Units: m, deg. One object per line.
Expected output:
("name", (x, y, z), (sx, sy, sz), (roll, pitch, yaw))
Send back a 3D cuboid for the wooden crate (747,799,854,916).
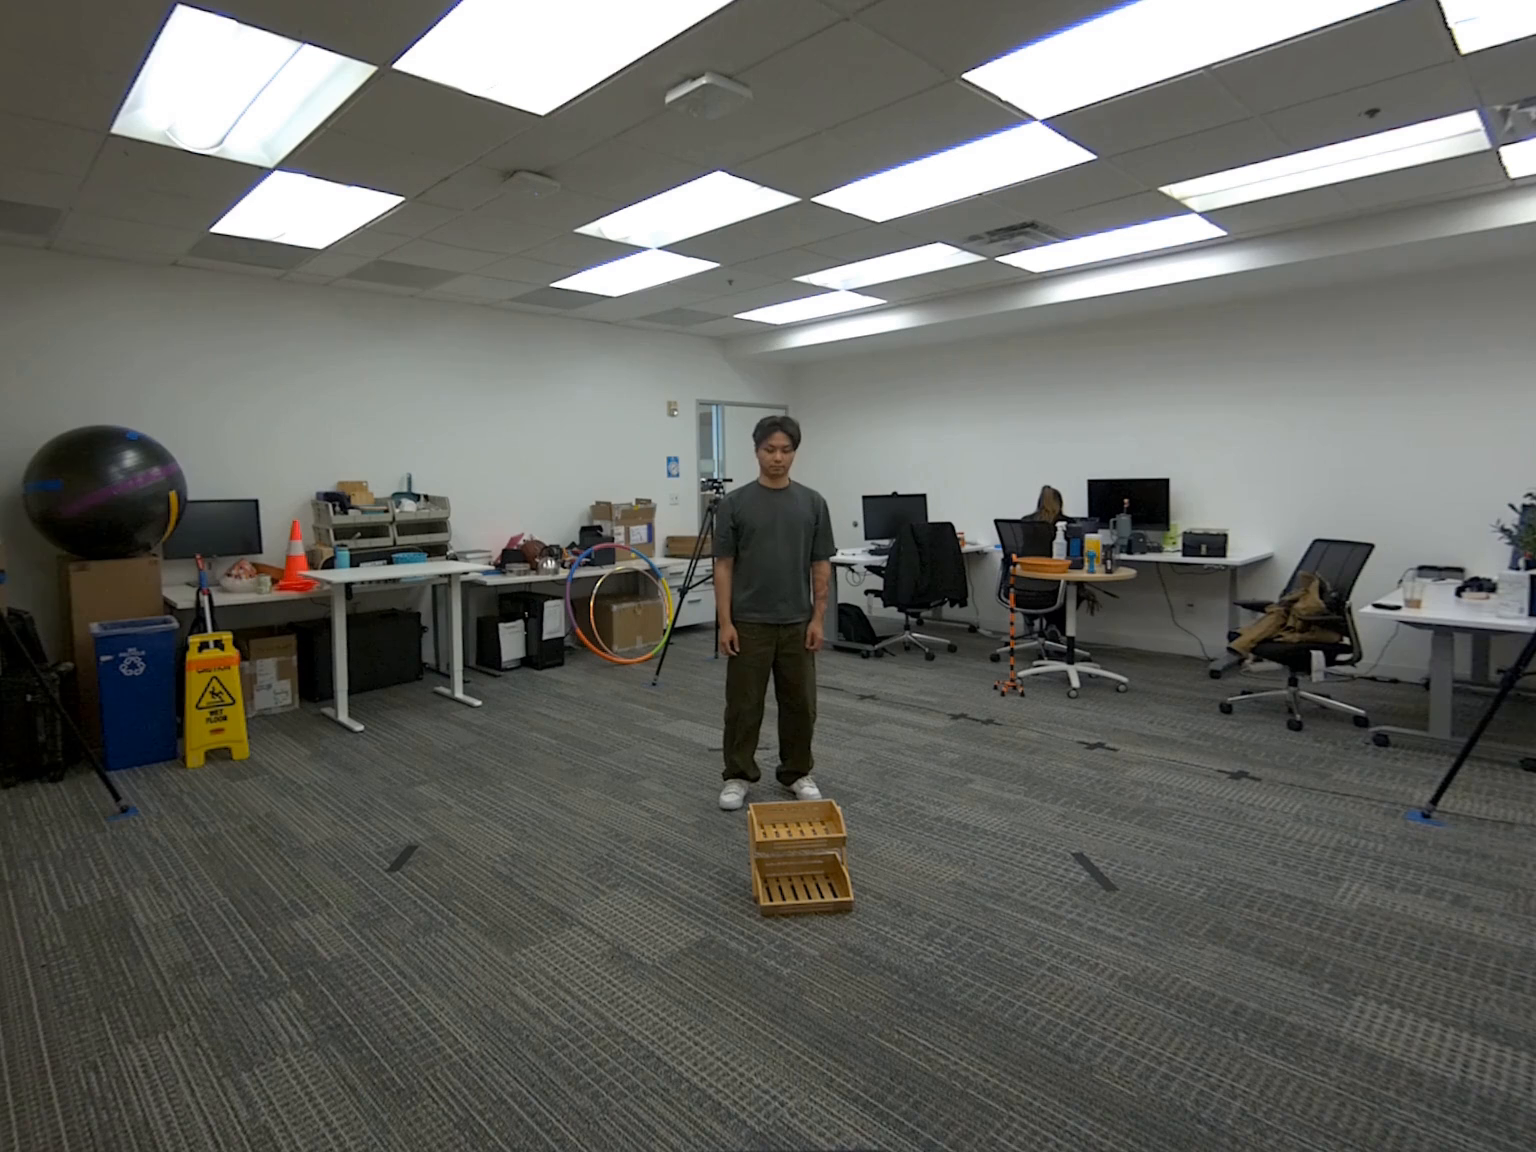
("wooden crate", (0.097, 0.941, 2.856), (0.322, 0.272, 0.305), (-2, 5, -7))
